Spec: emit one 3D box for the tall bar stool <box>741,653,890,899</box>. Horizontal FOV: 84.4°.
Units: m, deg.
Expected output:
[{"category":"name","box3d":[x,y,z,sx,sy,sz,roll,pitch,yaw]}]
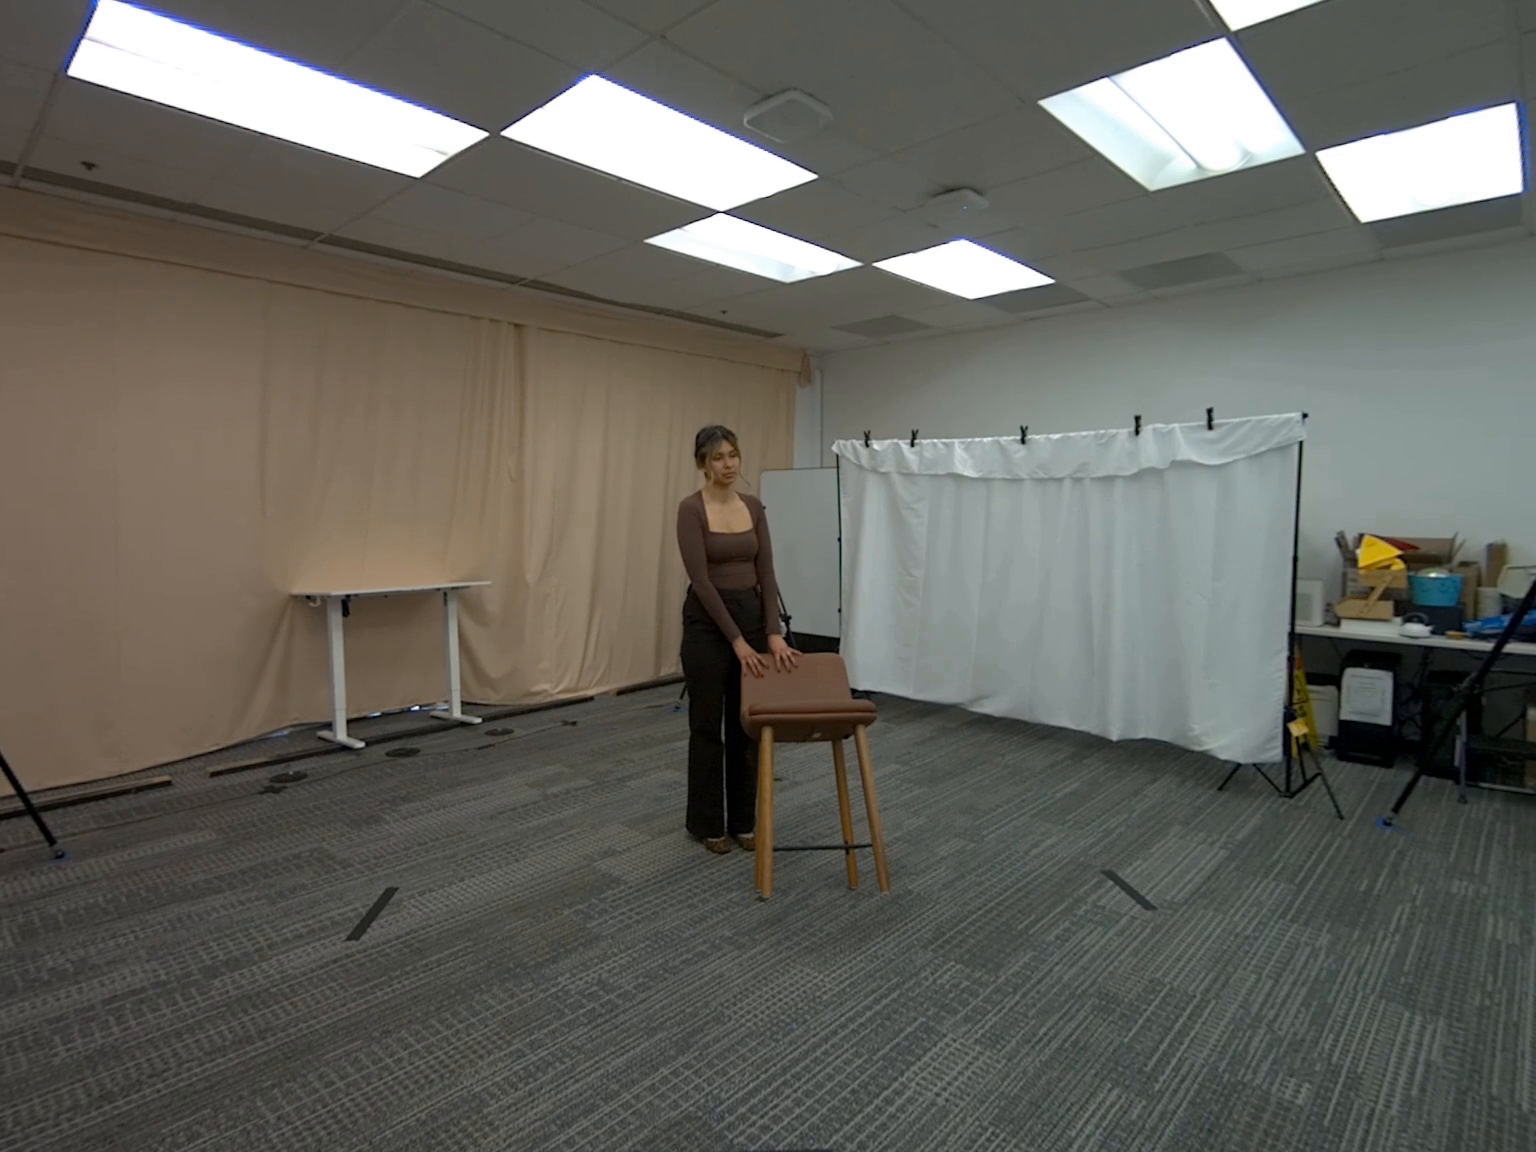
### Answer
[{"category":"tall bar stool","box3d":[0.149,0.659,3.009,0.455,0.902,0.463,-1,-22,-4]}]
